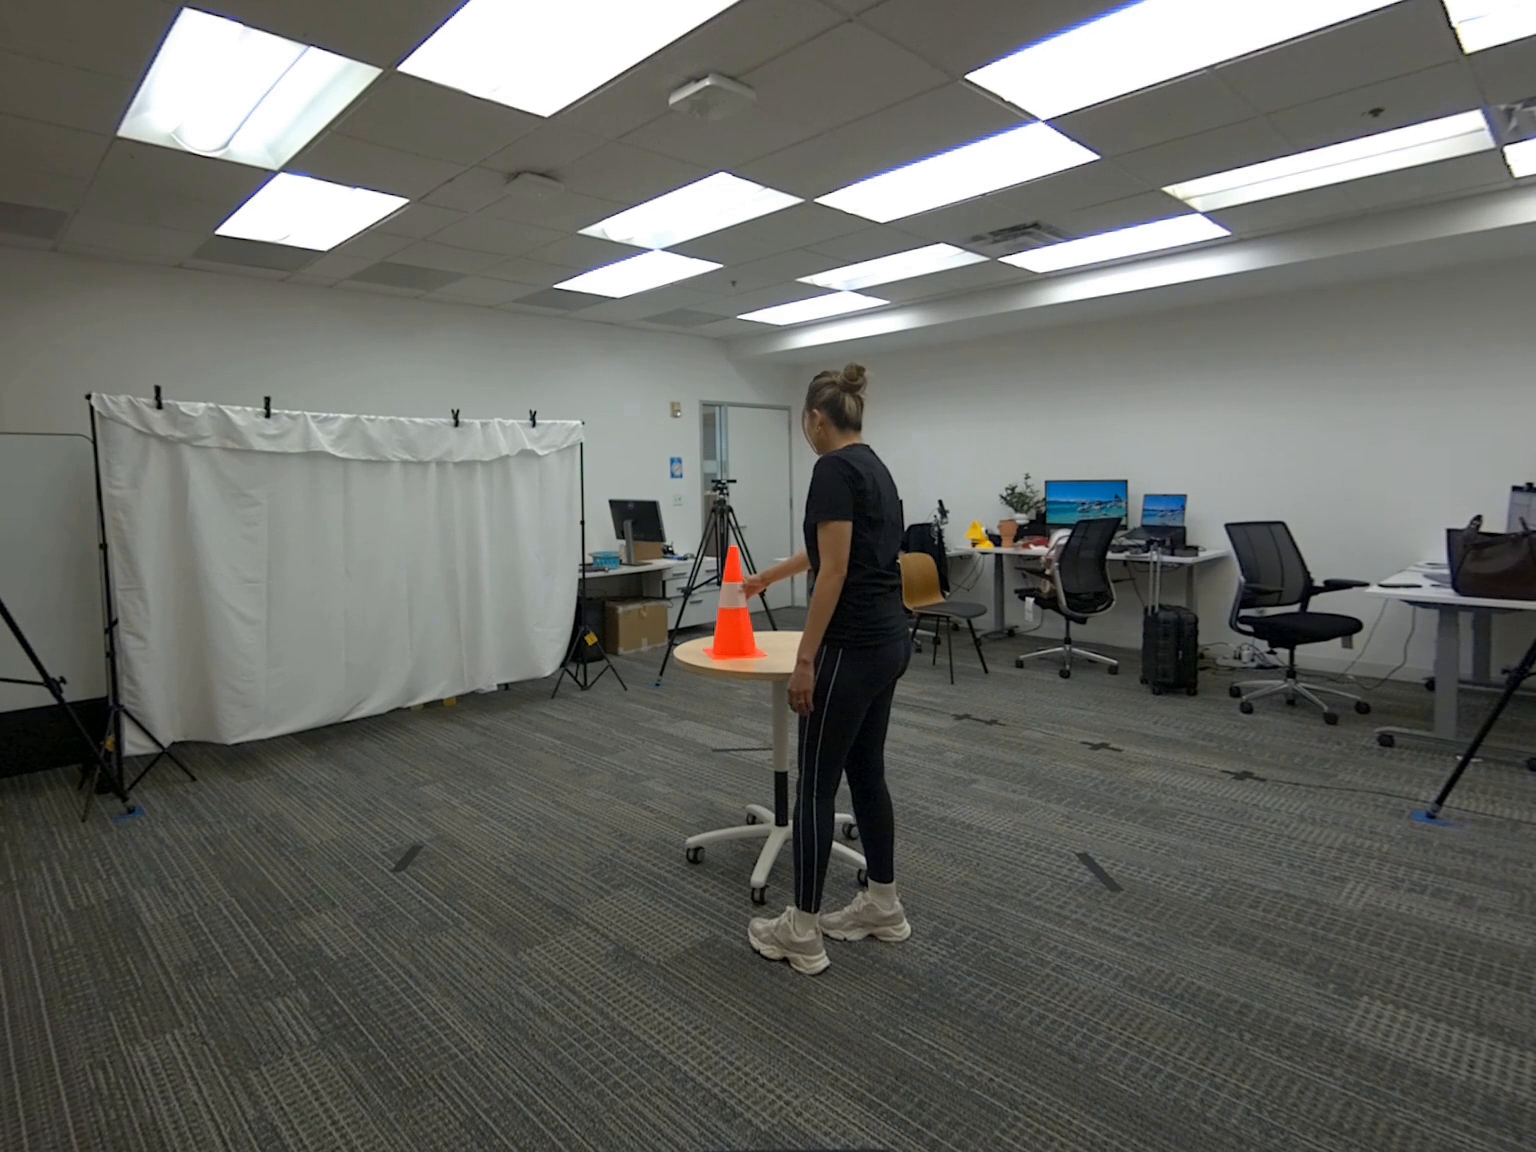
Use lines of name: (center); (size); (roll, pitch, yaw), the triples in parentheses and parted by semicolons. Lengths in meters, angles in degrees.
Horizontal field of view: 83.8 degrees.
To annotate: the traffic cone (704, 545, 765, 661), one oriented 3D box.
traffic cone: (-0.116, 0.087, 3.003); (0.200, 0.381, 0.209); (-3, 7, -17)
